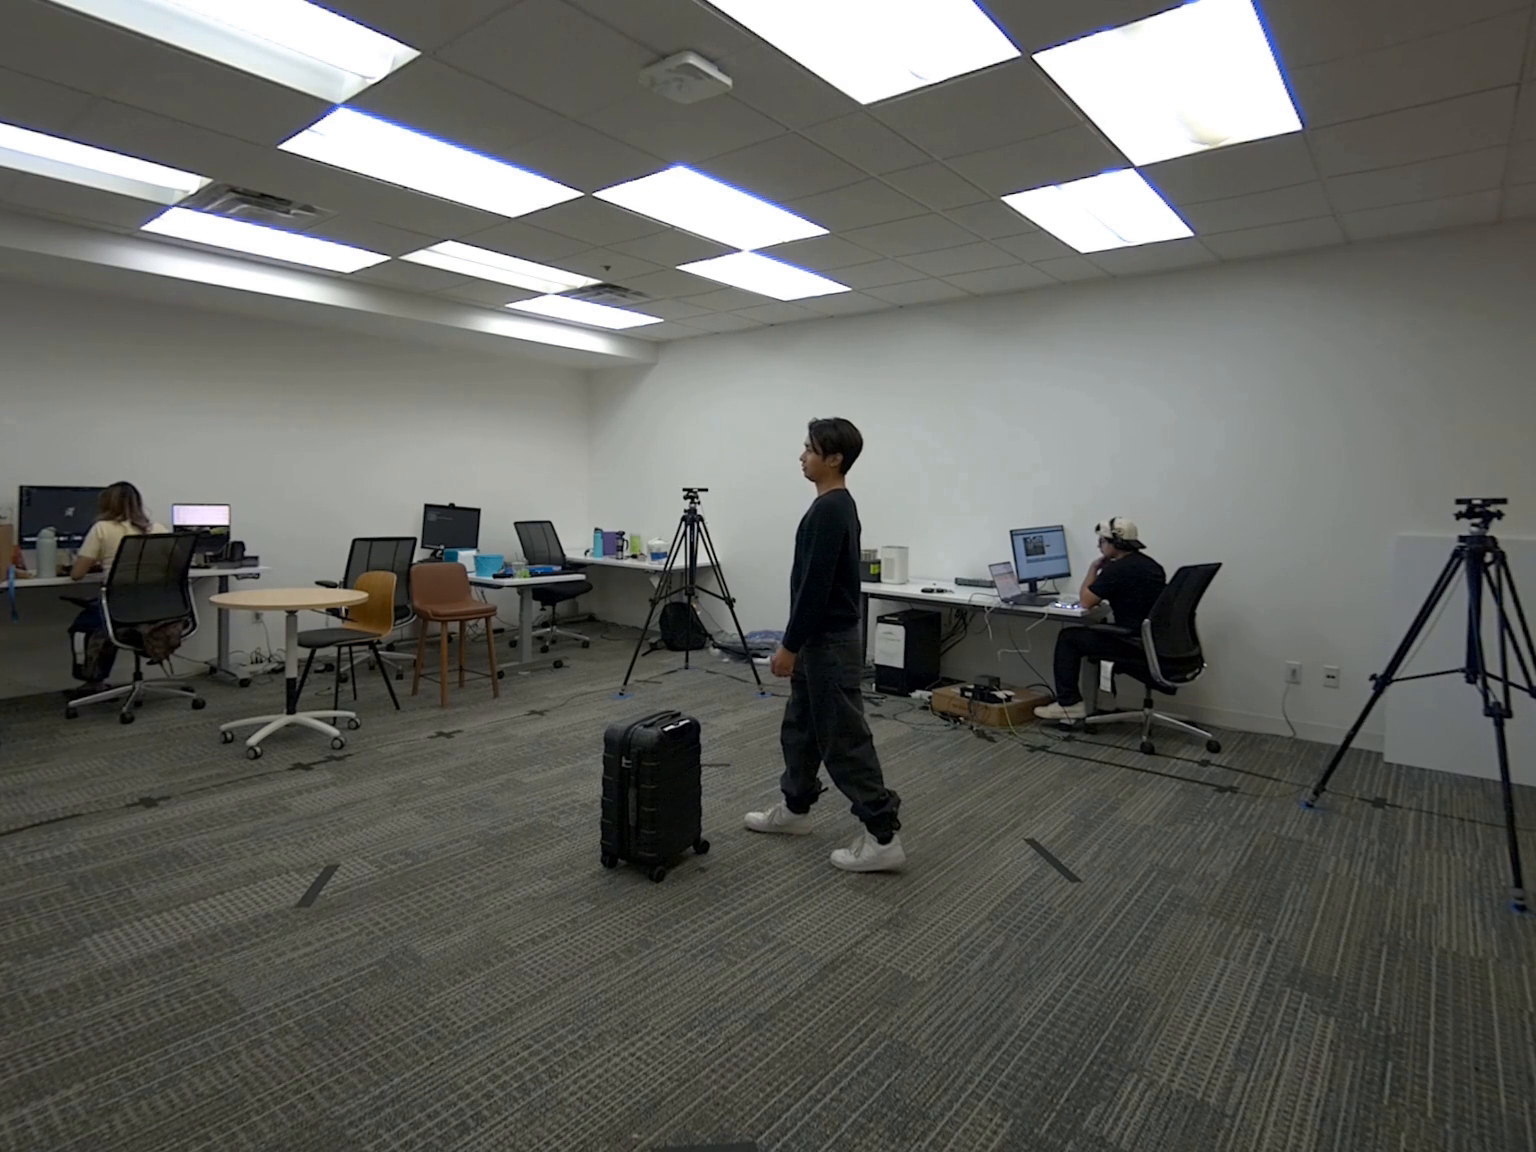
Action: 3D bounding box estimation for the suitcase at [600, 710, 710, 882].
[{"bbox_3d":[-0.440,0.787,3.162,0.255,0.547,0.366,1,4,29],"label":"suitcase"}]
